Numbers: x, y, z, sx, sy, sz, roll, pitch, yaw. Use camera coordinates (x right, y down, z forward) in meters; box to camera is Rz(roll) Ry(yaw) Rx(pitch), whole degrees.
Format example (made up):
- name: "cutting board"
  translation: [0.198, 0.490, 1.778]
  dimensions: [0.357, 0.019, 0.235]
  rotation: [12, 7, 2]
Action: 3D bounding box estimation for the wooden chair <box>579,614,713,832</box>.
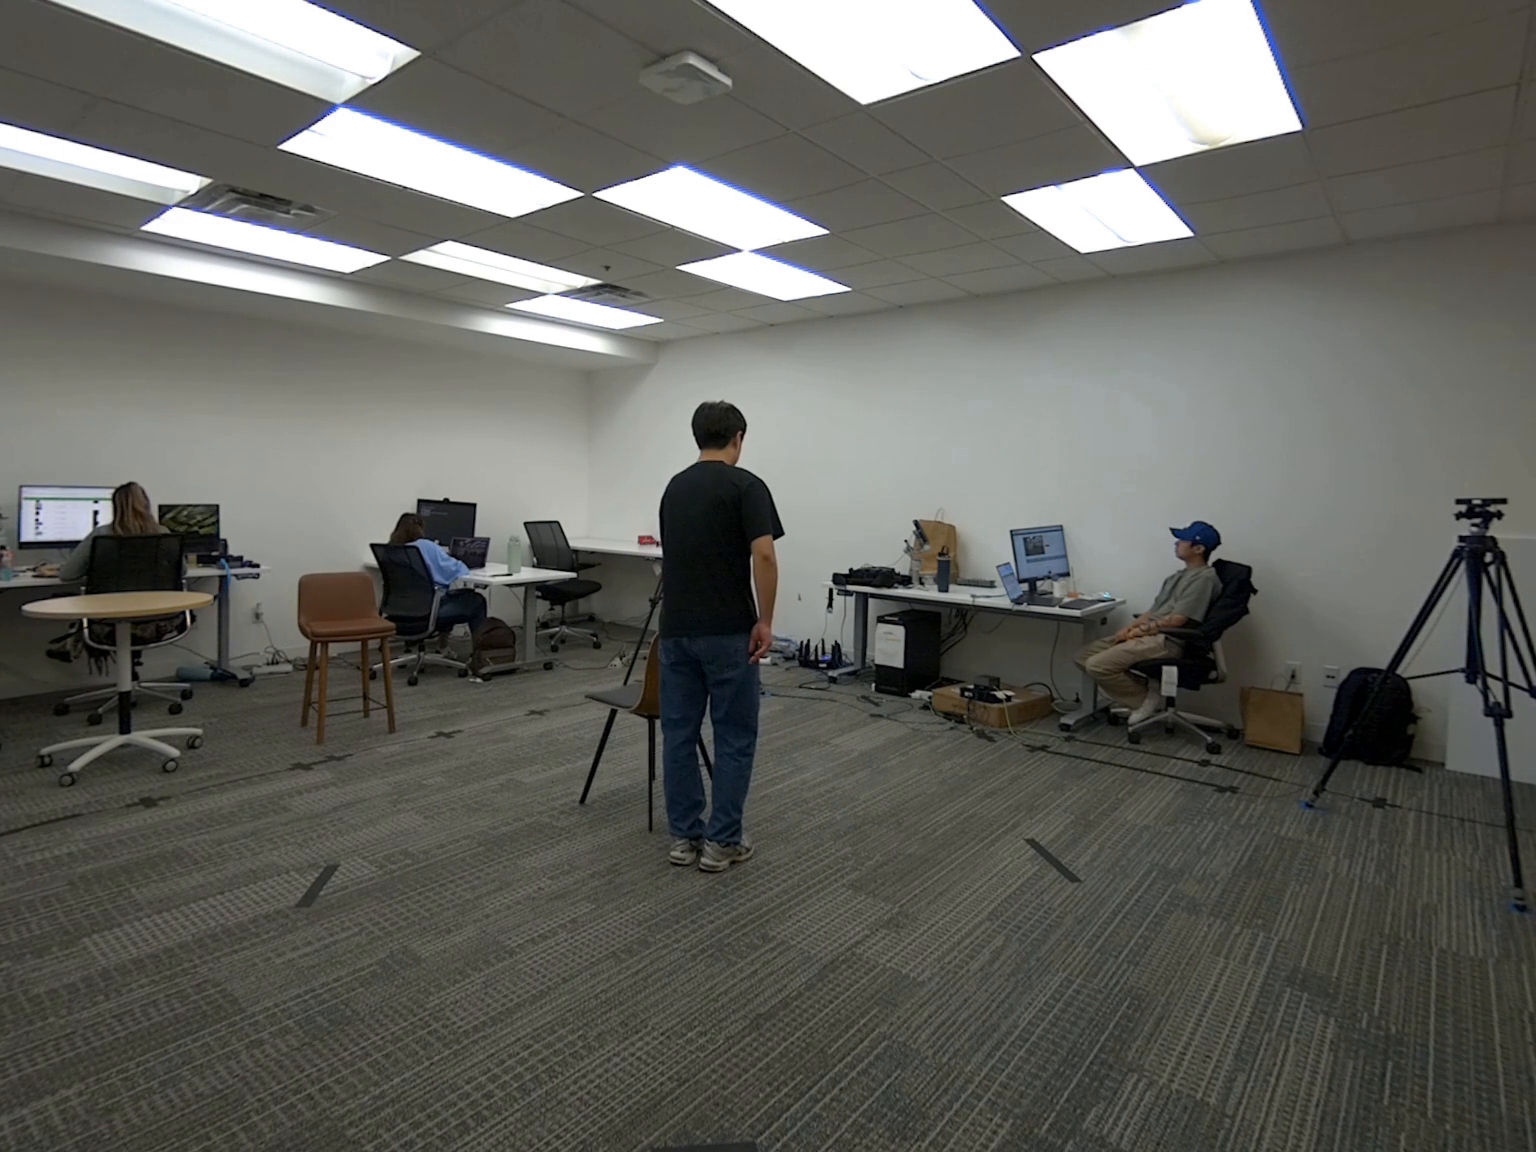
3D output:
- name: "wooden chair"
  translation: [-0.524, 0.575, 3.727]
  dimensions: [0.542, 0.873, 0.464]
  rotation: [9, 8, 40]
